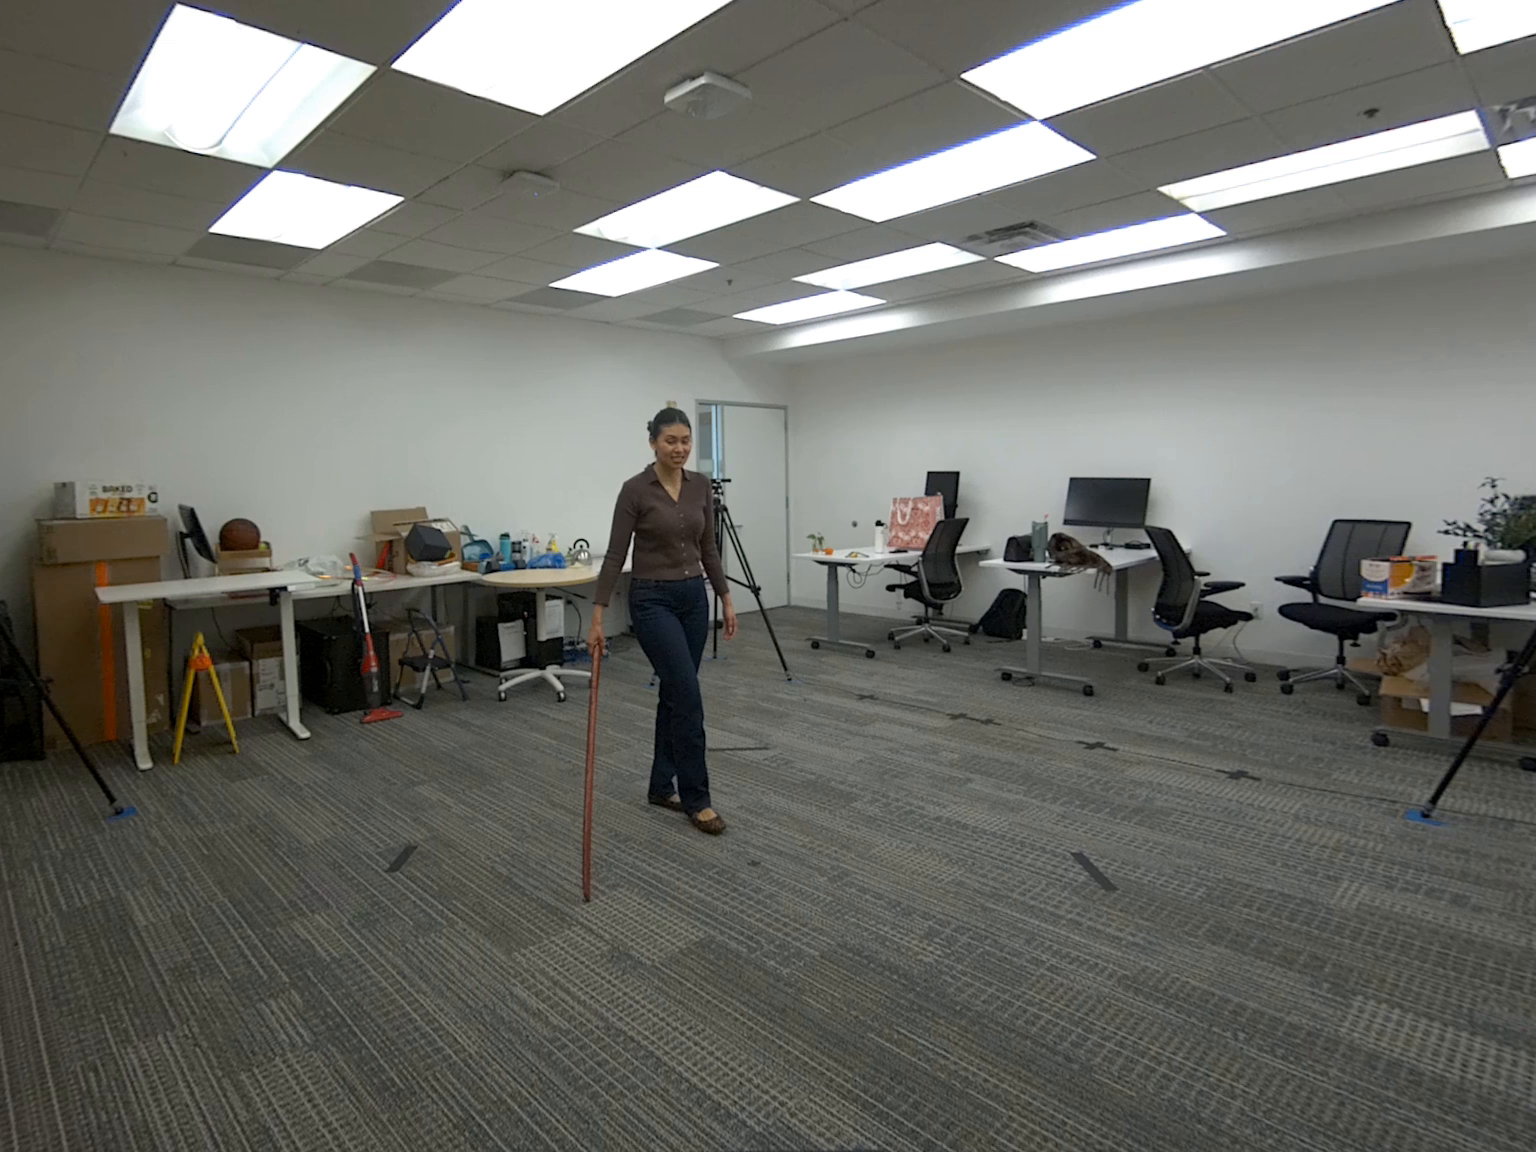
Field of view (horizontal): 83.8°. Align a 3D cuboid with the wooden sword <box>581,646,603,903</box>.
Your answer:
[{"bbox_3d":[-0.633,0.654,3.118,0.050,1.053,0.024,12,-39,-24],"label":"wooden sword"}]
